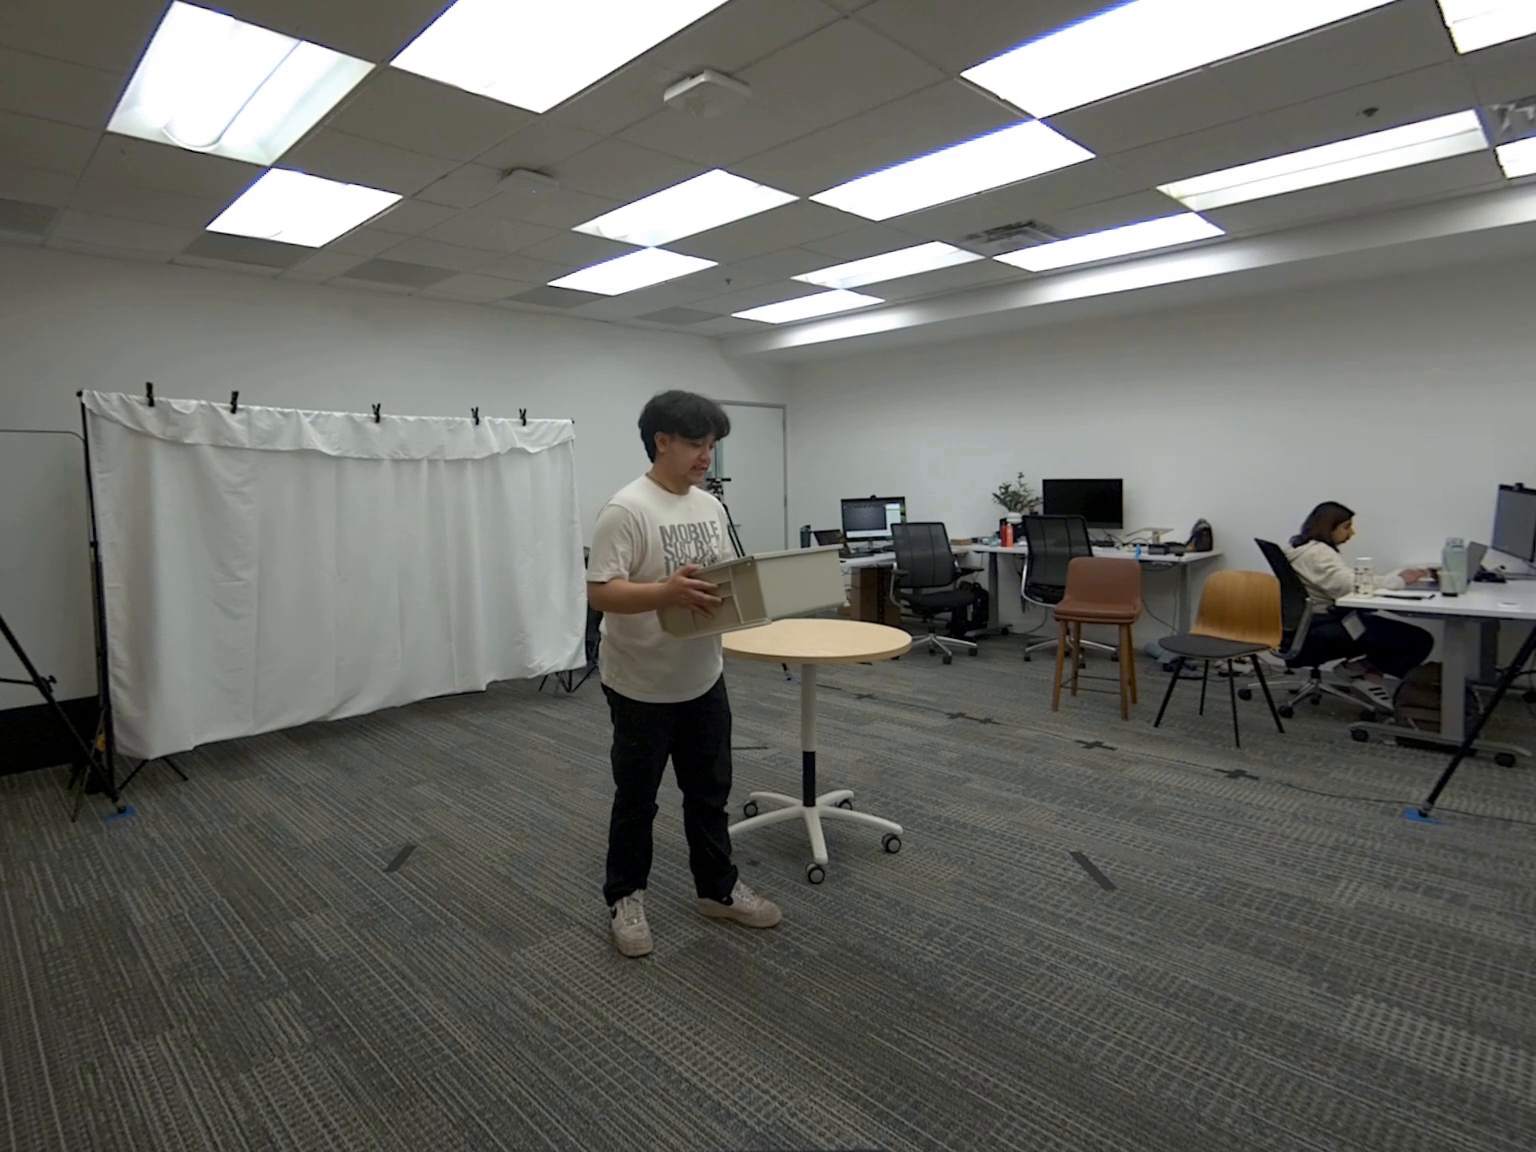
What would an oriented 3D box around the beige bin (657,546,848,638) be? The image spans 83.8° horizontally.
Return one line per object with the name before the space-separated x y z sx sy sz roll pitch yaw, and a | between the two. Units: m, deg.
beige bin | -0.034 0.053 2.400 0.386 0.189 0.411 -11 -2 38
